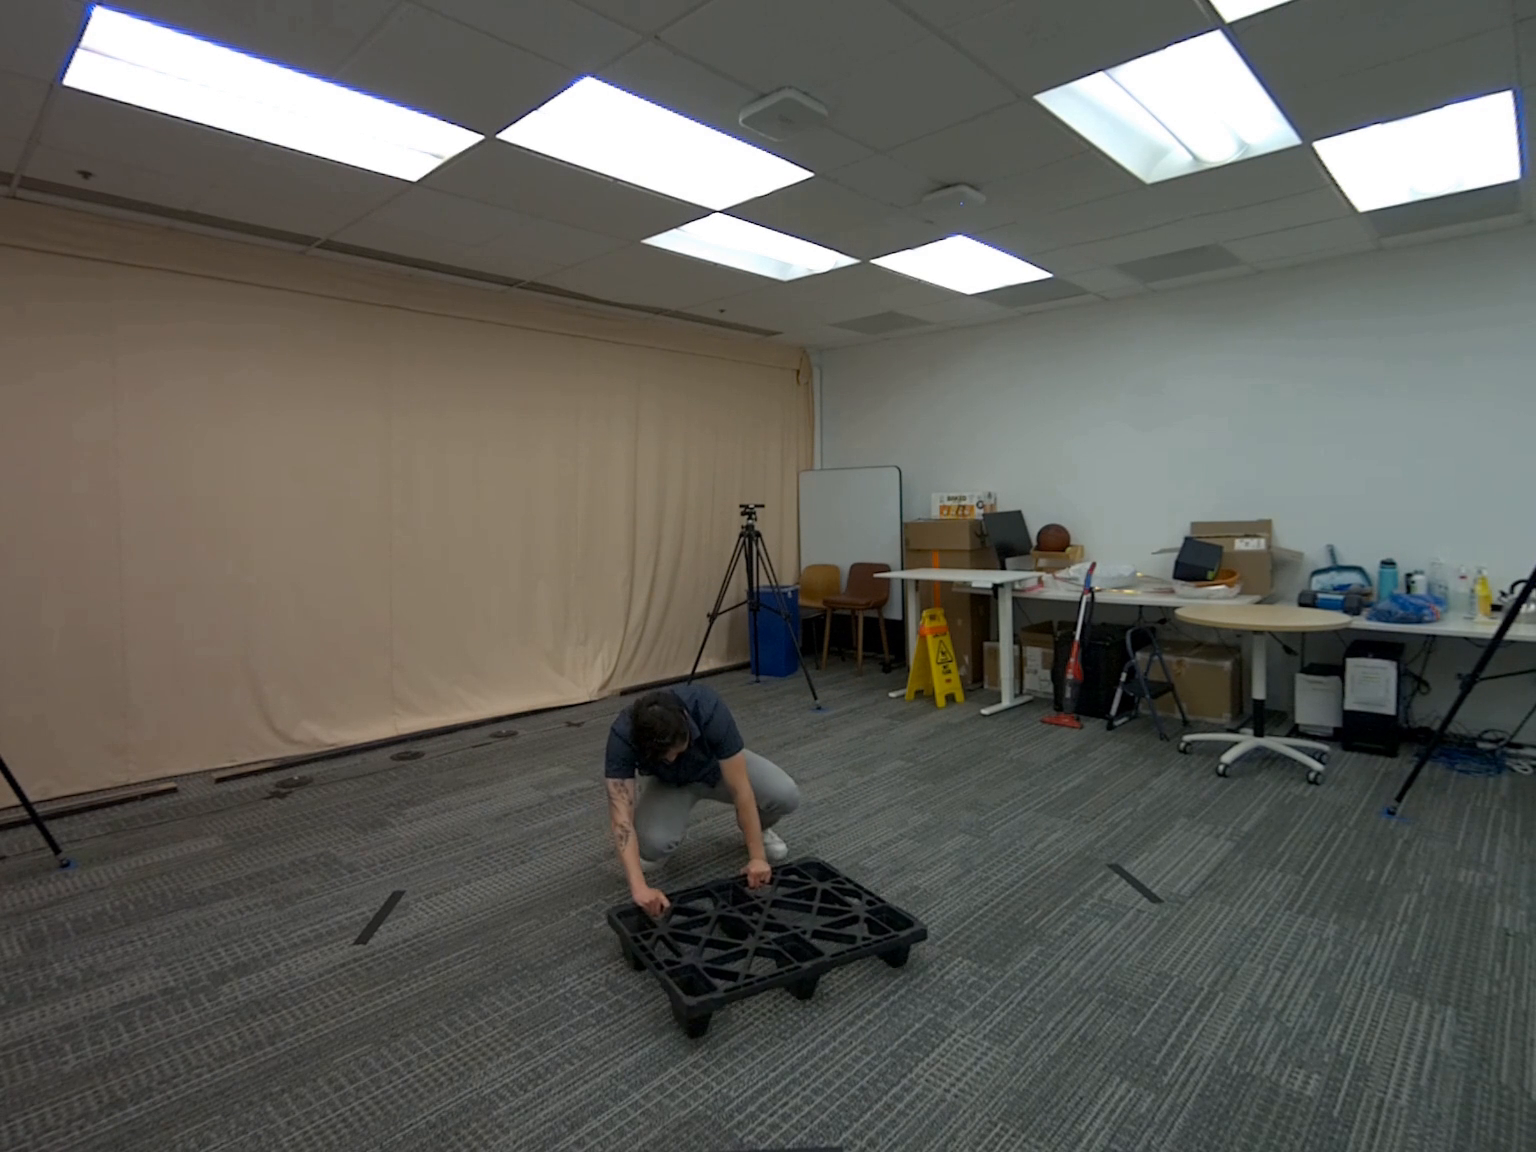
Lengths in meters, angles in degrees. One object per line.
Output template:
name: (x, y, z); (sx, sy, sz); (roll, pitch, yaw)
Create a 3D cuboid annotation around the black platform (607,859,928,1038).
black platform: (-0.014, 1.105, 2.562); (0.785, 0.143, 0.622); (-4, 6, -29)
